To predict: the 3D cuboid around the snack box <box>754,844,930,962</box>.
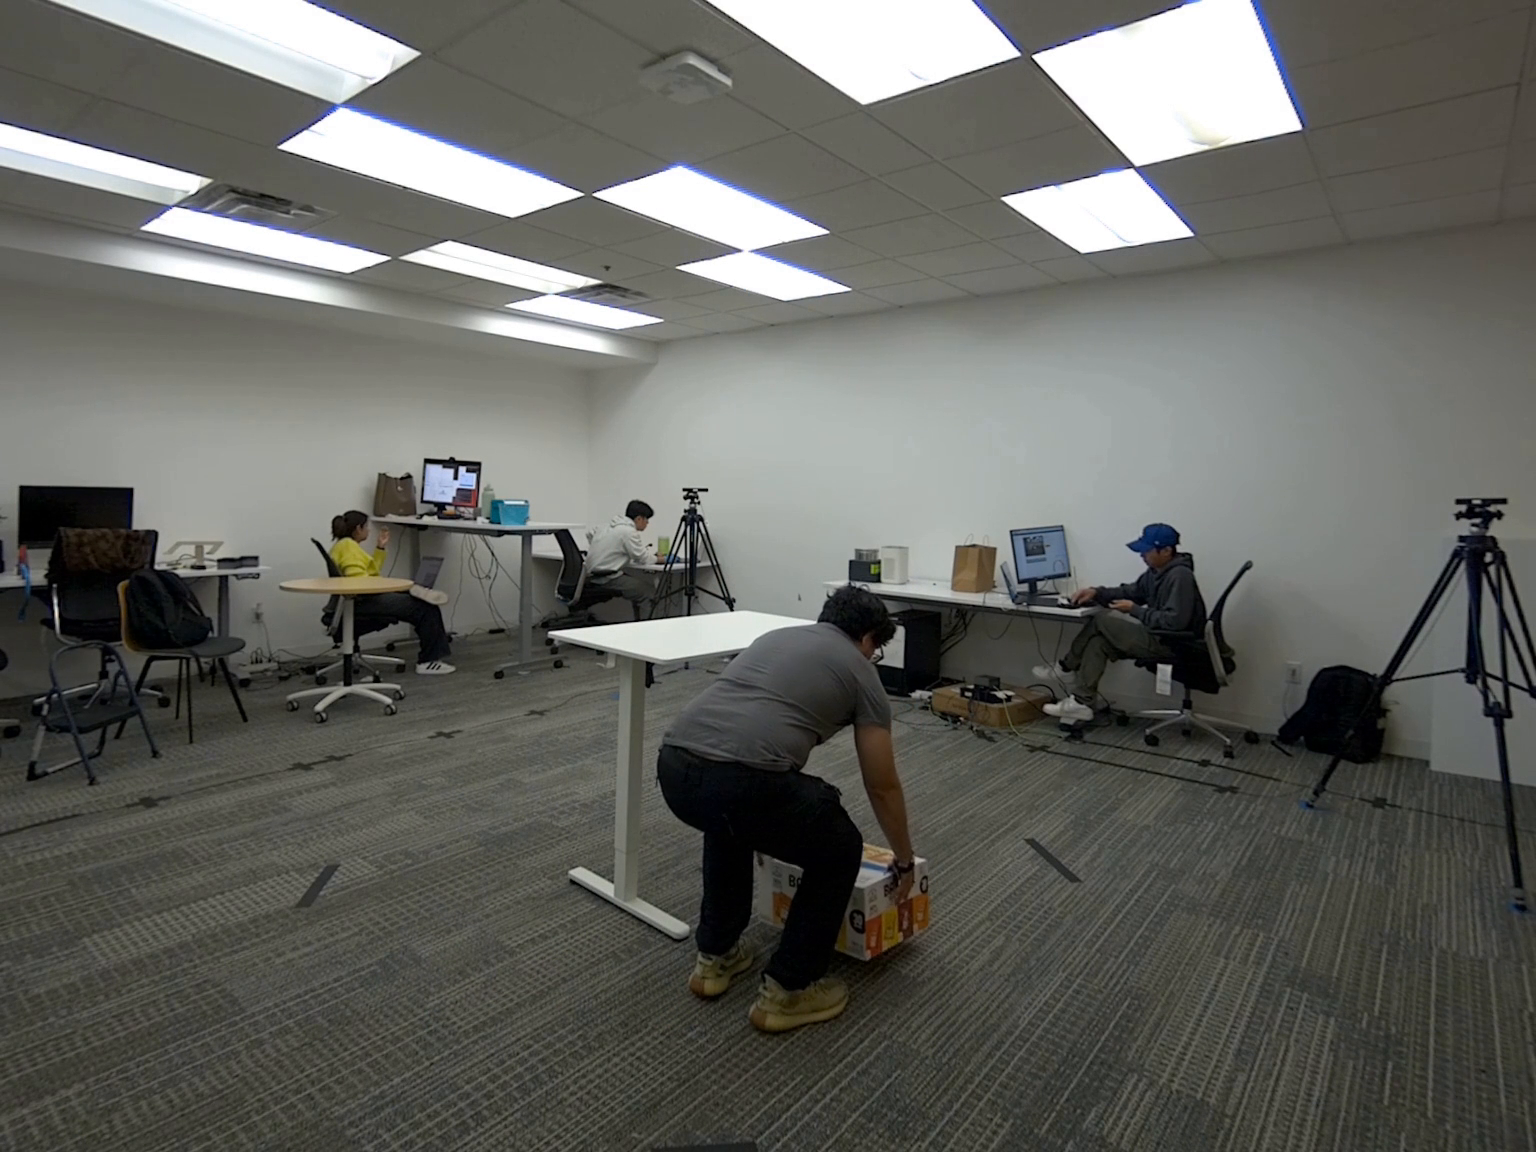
[{"bbox_3d":[0.225,0.977,2.637,0.418,0.206,0.329,-1,-2,43],"label":"snack box"}]
